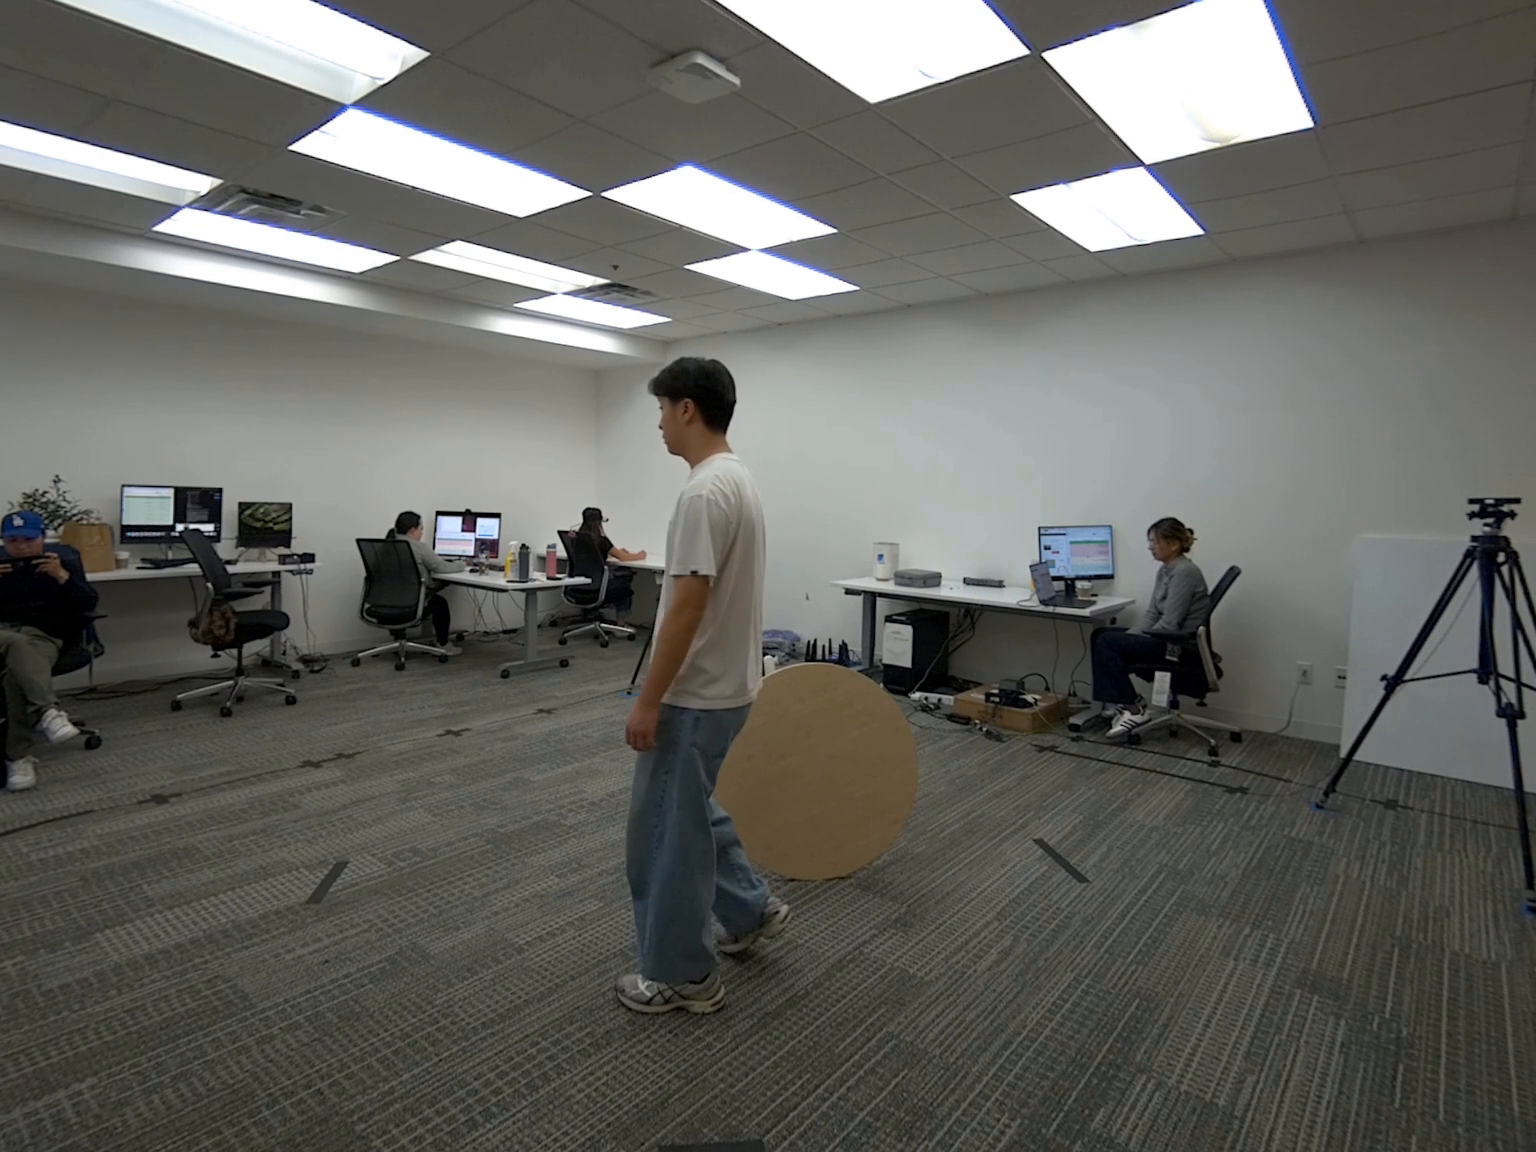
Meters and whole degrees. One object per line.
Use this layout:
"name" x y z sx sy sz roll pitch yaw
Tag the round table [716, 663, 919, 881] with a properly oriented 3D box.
"round table" 0.086 0.692 3.443 0.777 0.787 0.793 0 -2 -11
